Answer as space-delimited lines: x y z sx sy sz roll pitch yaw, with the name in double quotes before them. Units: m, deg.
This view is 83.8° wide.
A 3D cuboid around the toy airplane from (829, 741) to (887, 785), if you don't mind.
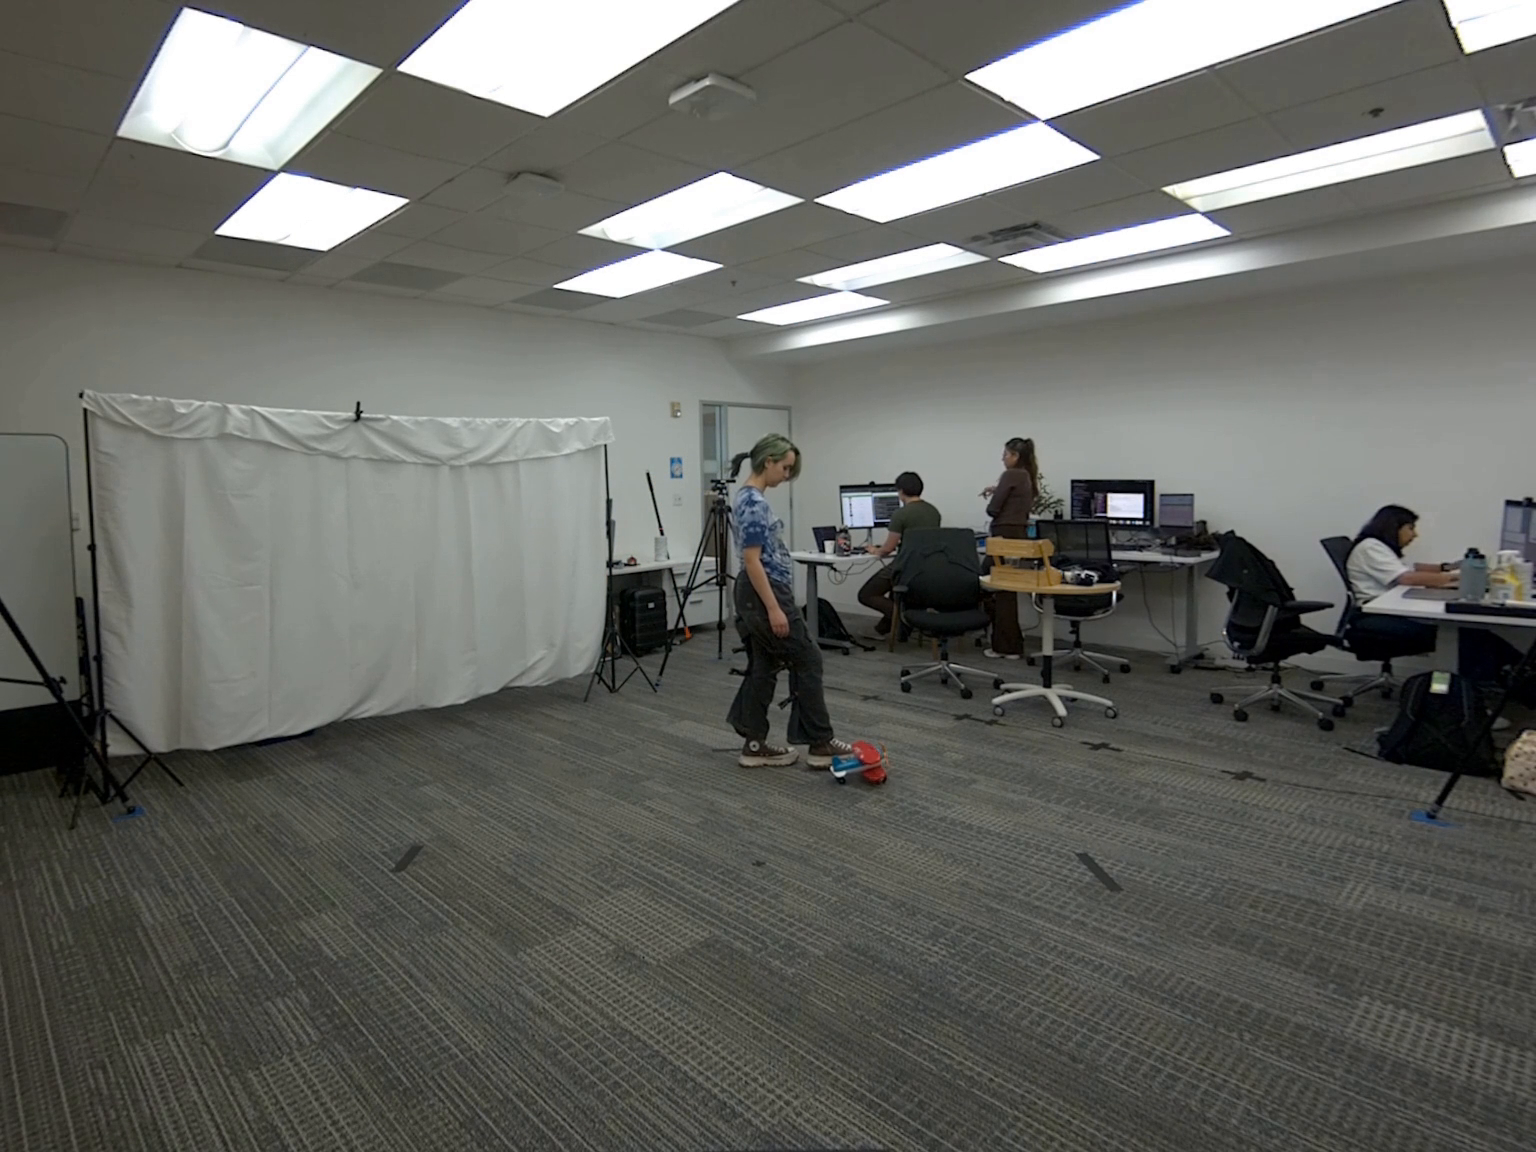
"toy airplane" 0.431 0.878 3.913 0.252 0.155 0.259 -6 9 -39
